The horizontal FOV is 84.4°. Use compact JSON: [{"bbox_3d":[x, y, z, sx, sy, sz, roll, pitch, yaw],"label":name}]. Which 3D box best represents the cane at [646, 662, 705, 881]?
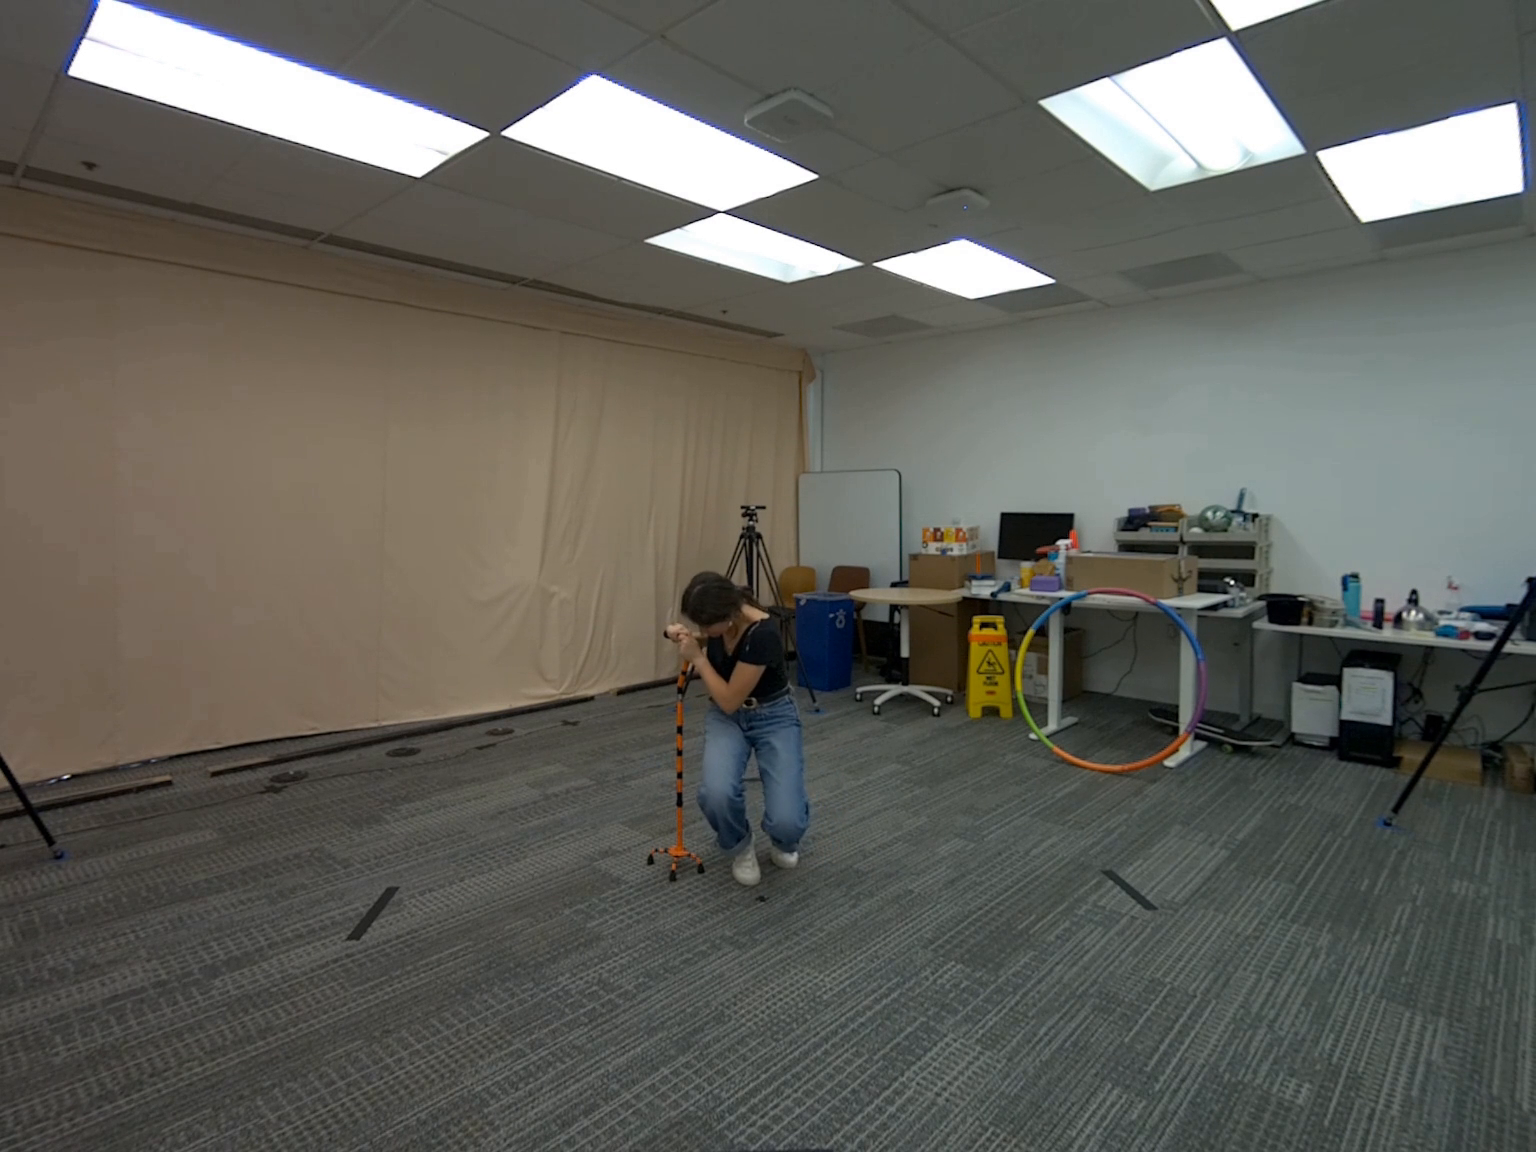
[{"bbox_3d":[-0.346,0.678,3.221,0.147,0.906,0.213,-1,4,-36],"label":"cane"}]
